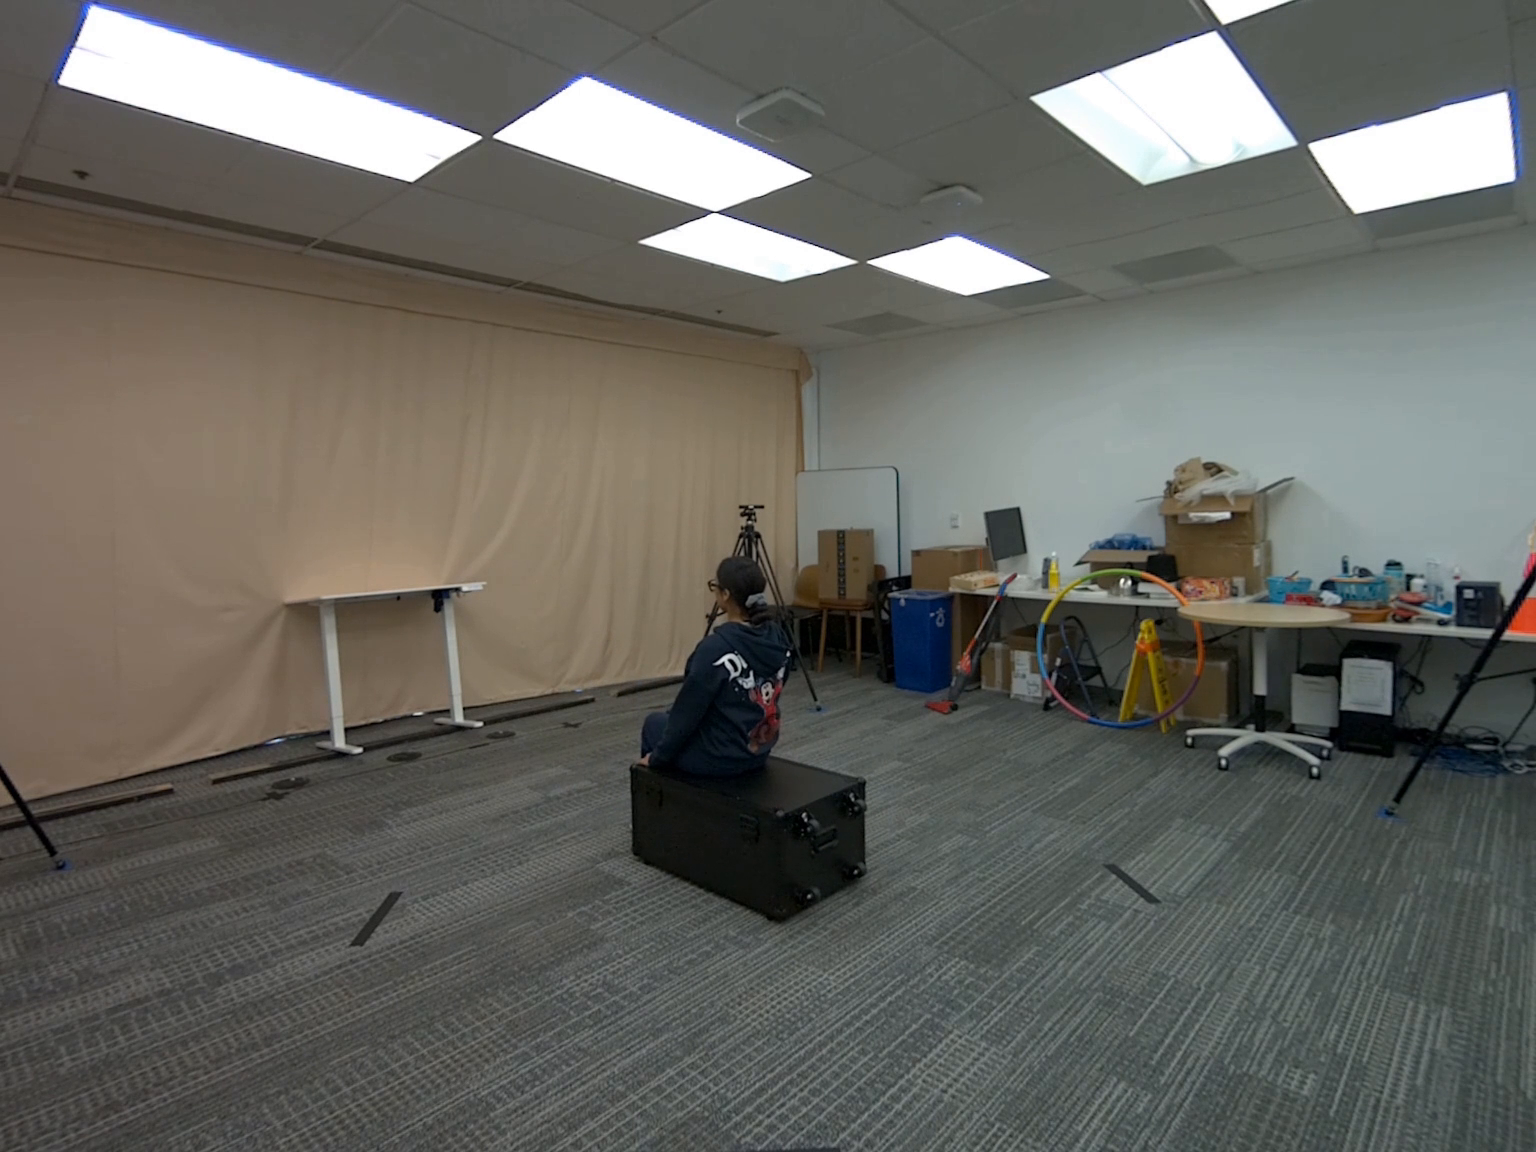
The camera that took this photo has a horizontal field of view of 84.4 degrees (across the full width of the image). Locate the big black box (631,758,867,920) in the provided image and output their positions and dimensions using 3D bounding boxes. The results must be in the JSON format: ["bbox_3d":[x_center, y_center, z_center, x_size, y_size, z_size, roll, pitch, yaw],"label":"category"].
[{"bbox_3d":[-0.063,0.939,3.184,0.890,0.395,0.505,2,5,44],"label":"big black box"}]
